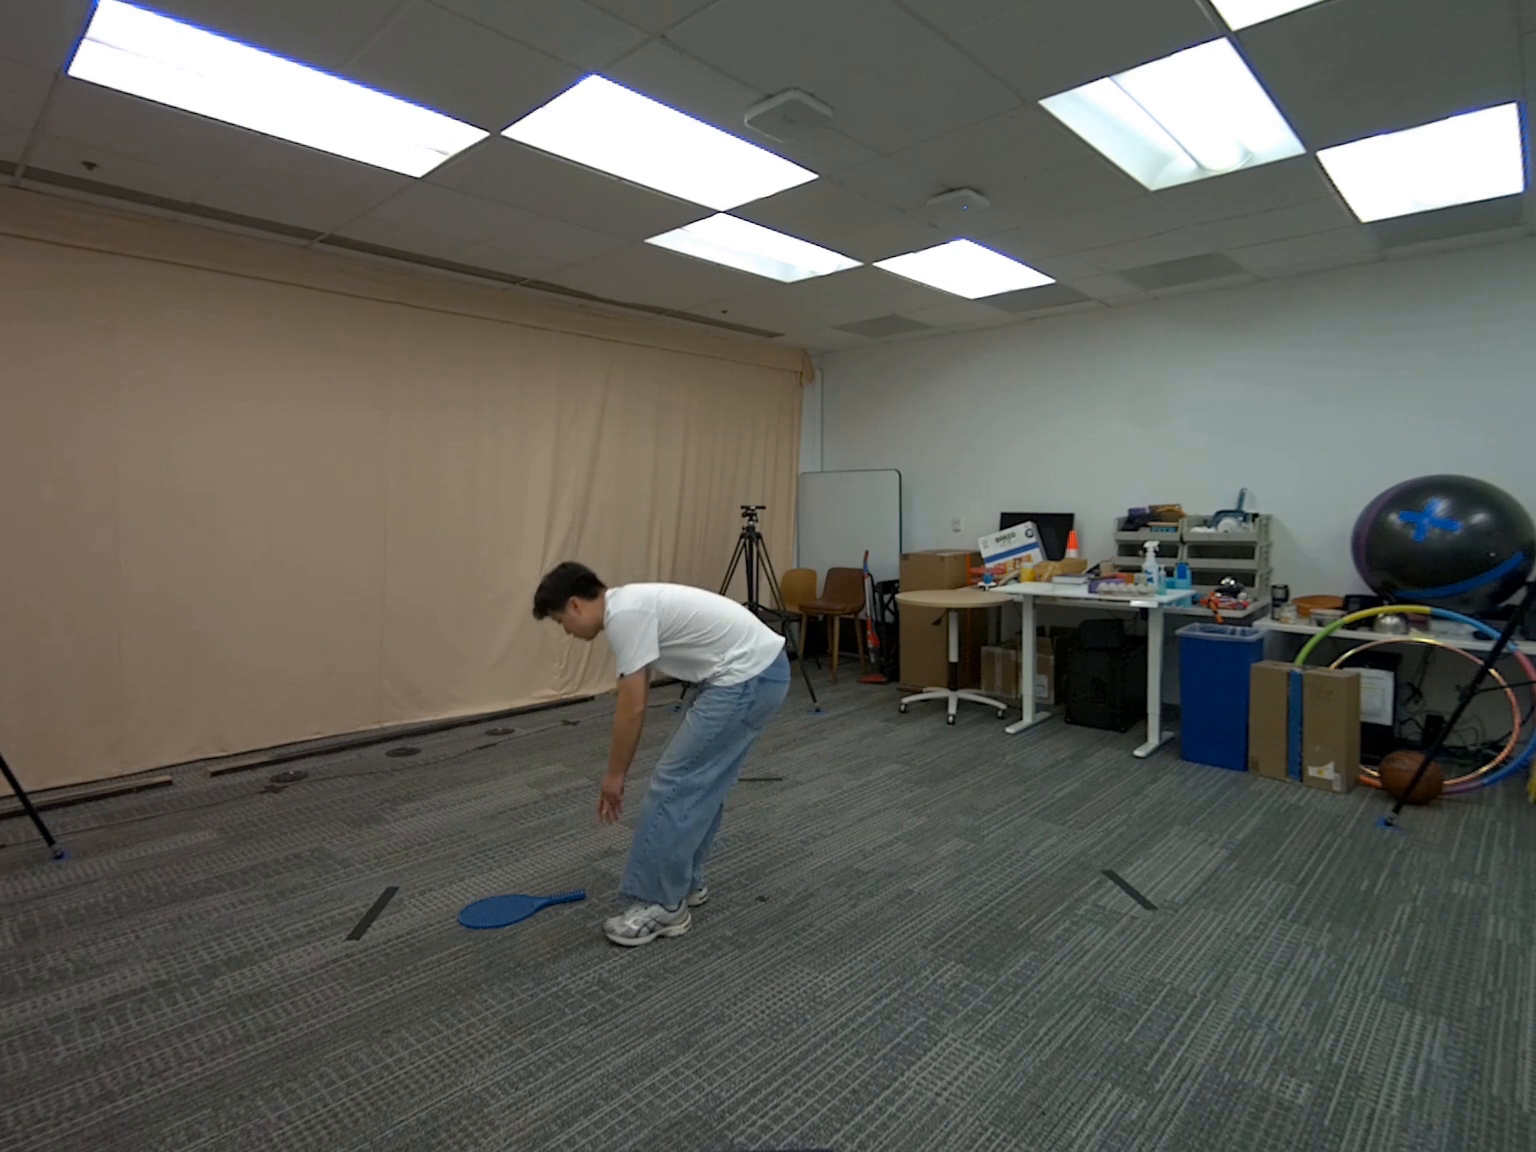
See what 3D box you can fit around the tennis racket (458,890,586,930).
[{"bbox_3d":[-0.853,1.146,2.916,0.425,0.032,0.218,-3,5,-20],"label":"tennis racket"}]
